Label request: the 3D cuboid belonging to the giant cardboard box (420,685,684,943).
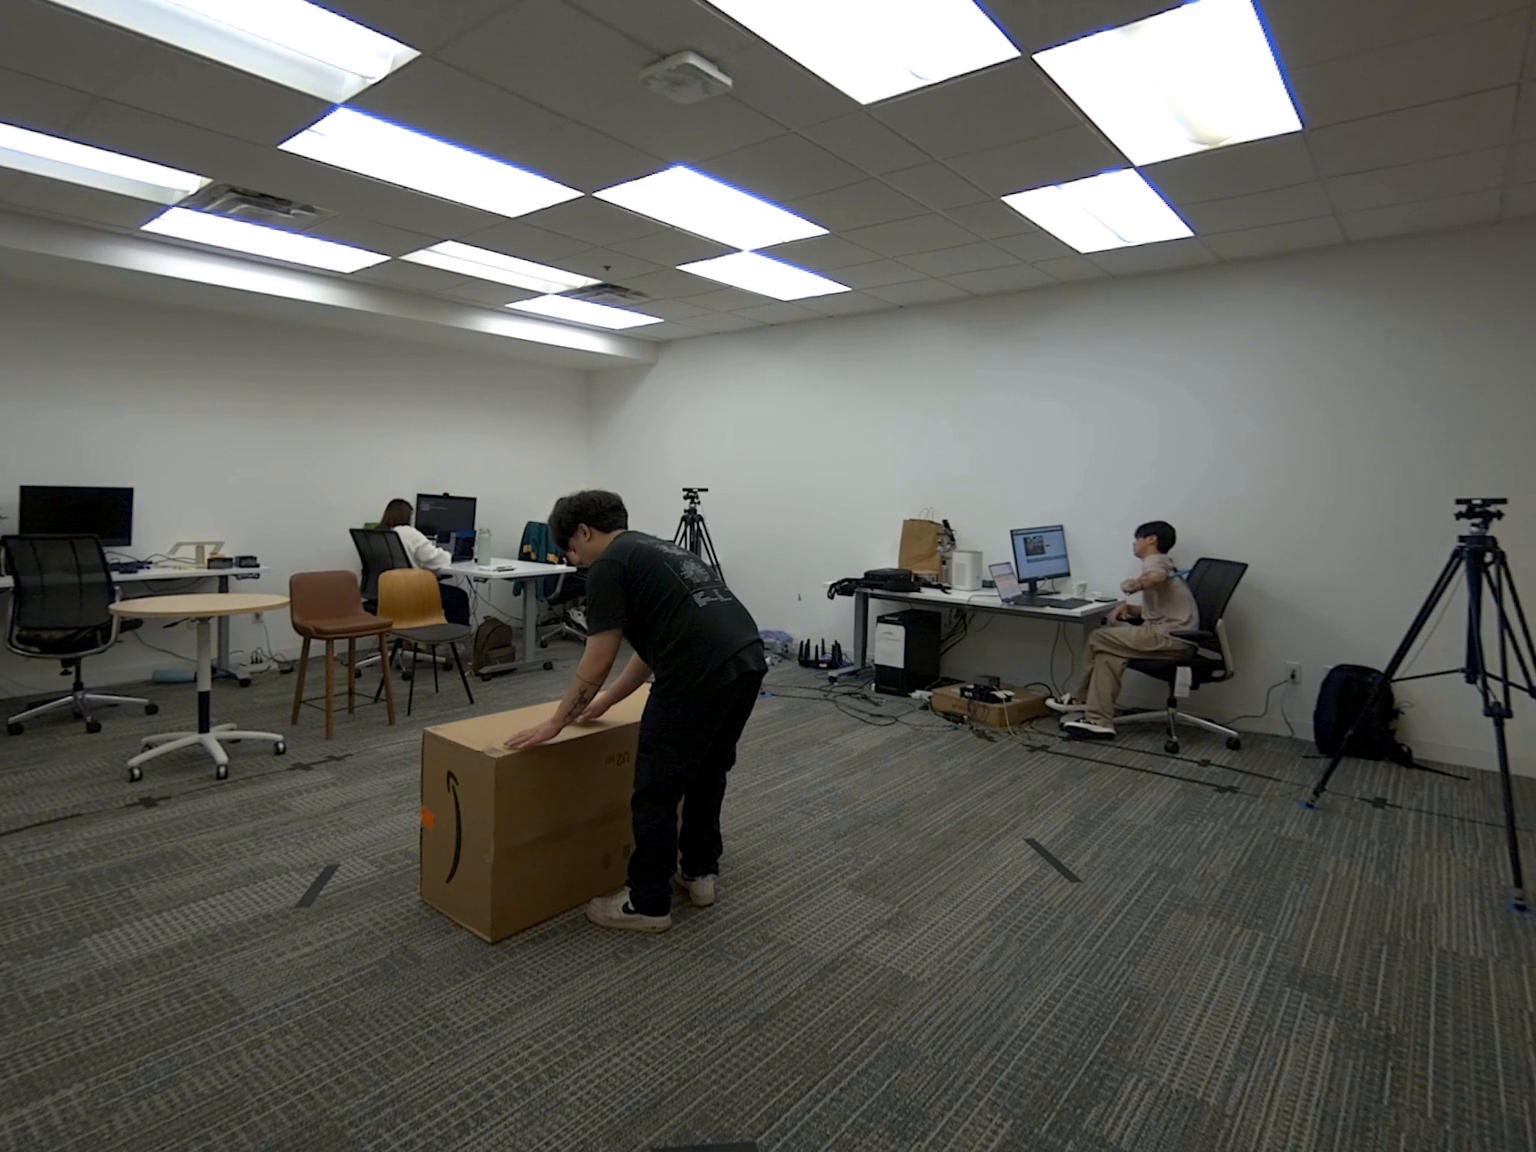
[{"bbox_3d":[-0.690,0.781,3.072,0.461,0.582,0.996,3,4,39],"label":"giant cardboard box"}]
